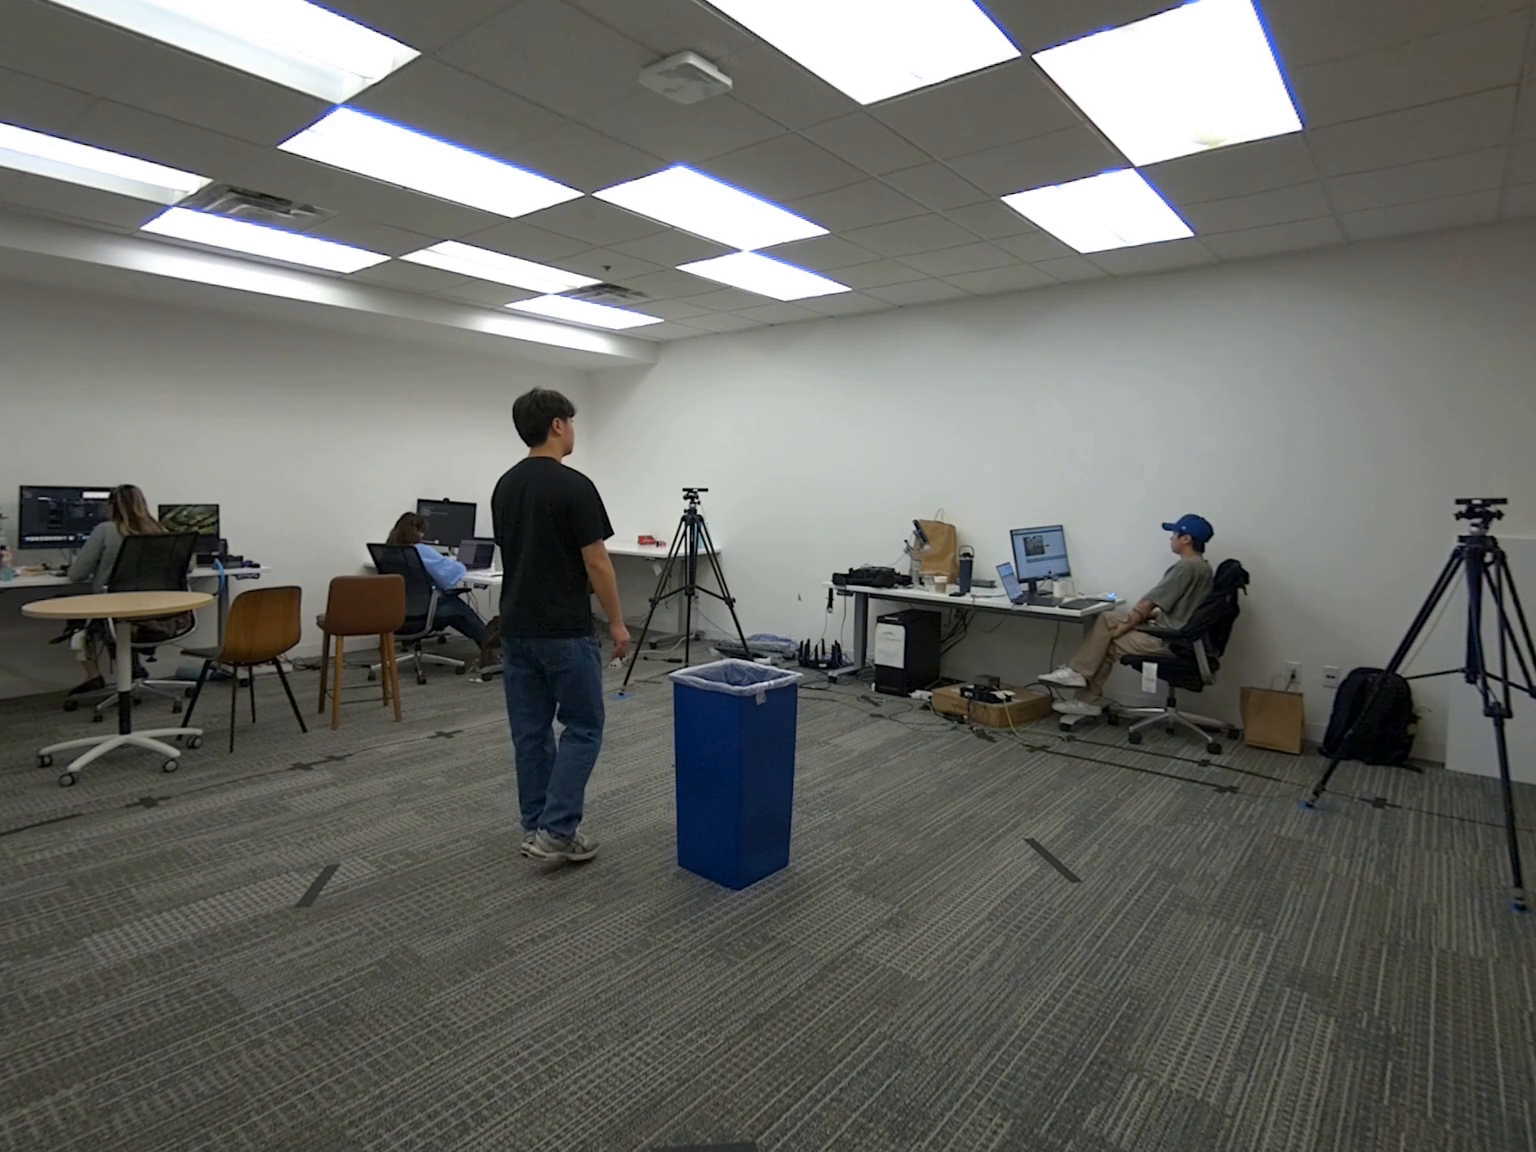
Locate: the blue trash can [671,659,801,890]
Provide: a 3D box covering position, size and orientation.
[{"bbox_3d":[-0.137,0.710,3.136,0.387,0.712,0.366,4,4,41],"label":"blue trash can"}]
